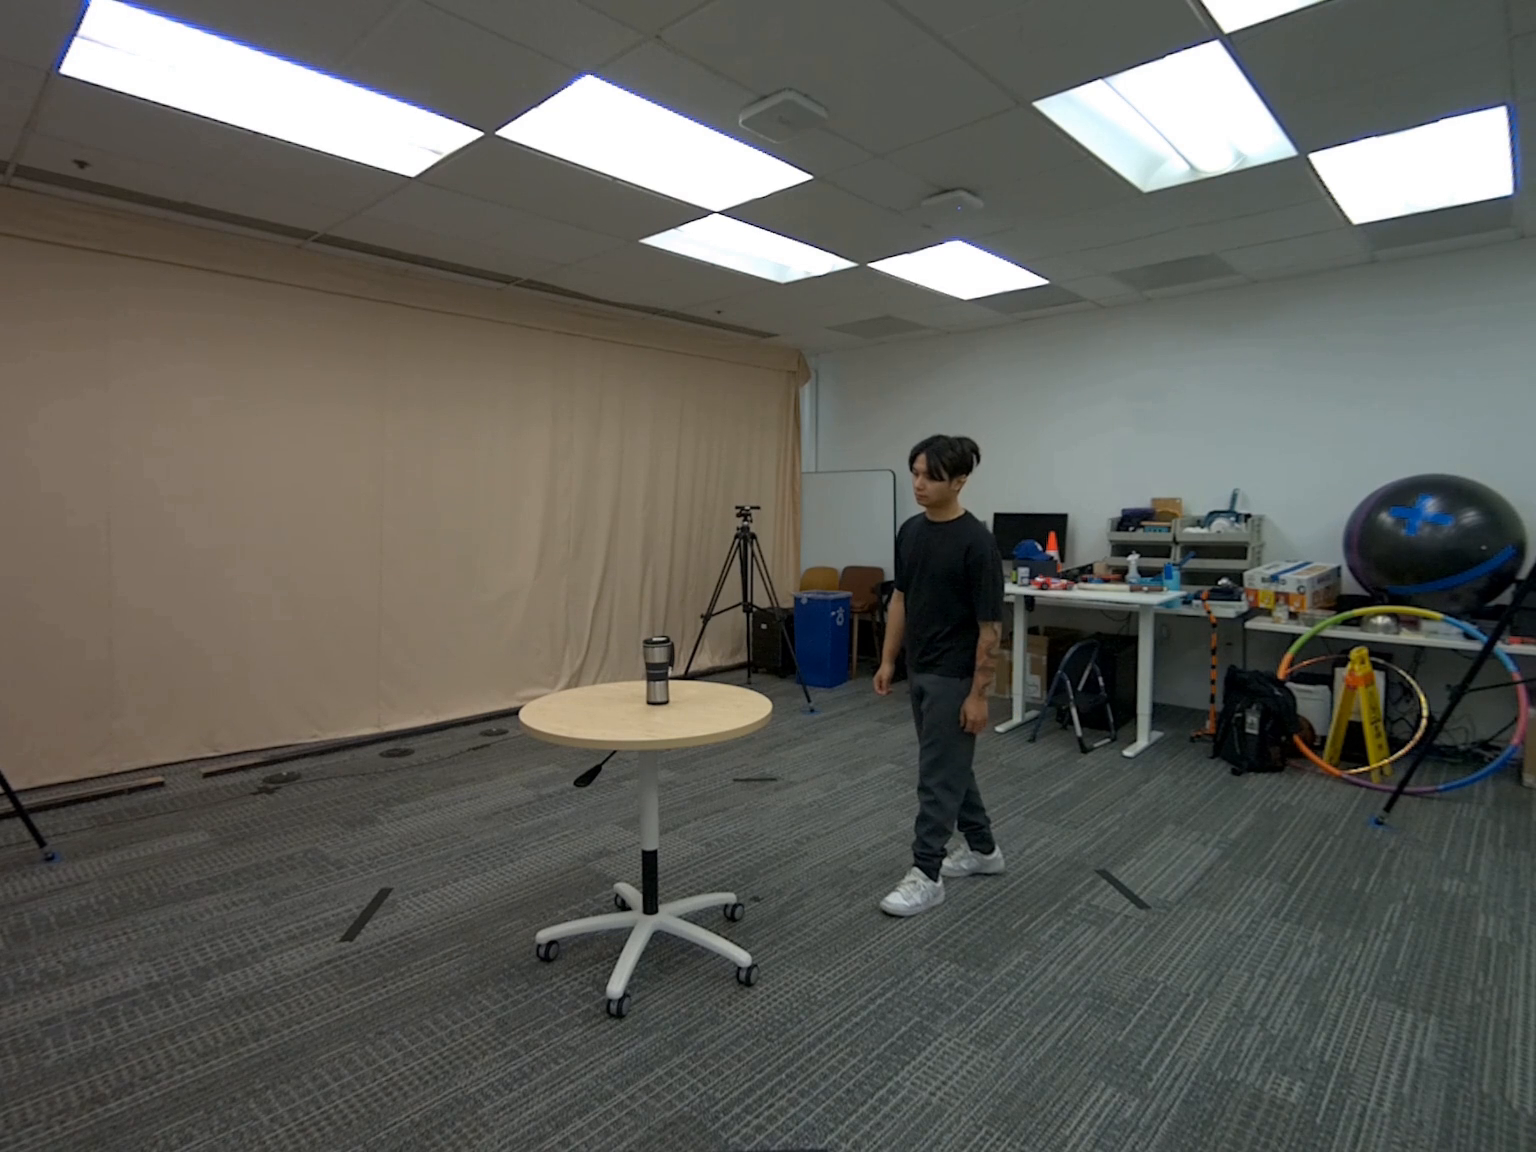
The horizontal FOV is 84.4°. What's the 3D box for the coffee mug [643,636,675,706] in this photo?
[{"bbox_3d":[-0.321,0.295,2.613,0.119,0.203,0.090,-7,2,-31],"label":"coffee mug"}]
